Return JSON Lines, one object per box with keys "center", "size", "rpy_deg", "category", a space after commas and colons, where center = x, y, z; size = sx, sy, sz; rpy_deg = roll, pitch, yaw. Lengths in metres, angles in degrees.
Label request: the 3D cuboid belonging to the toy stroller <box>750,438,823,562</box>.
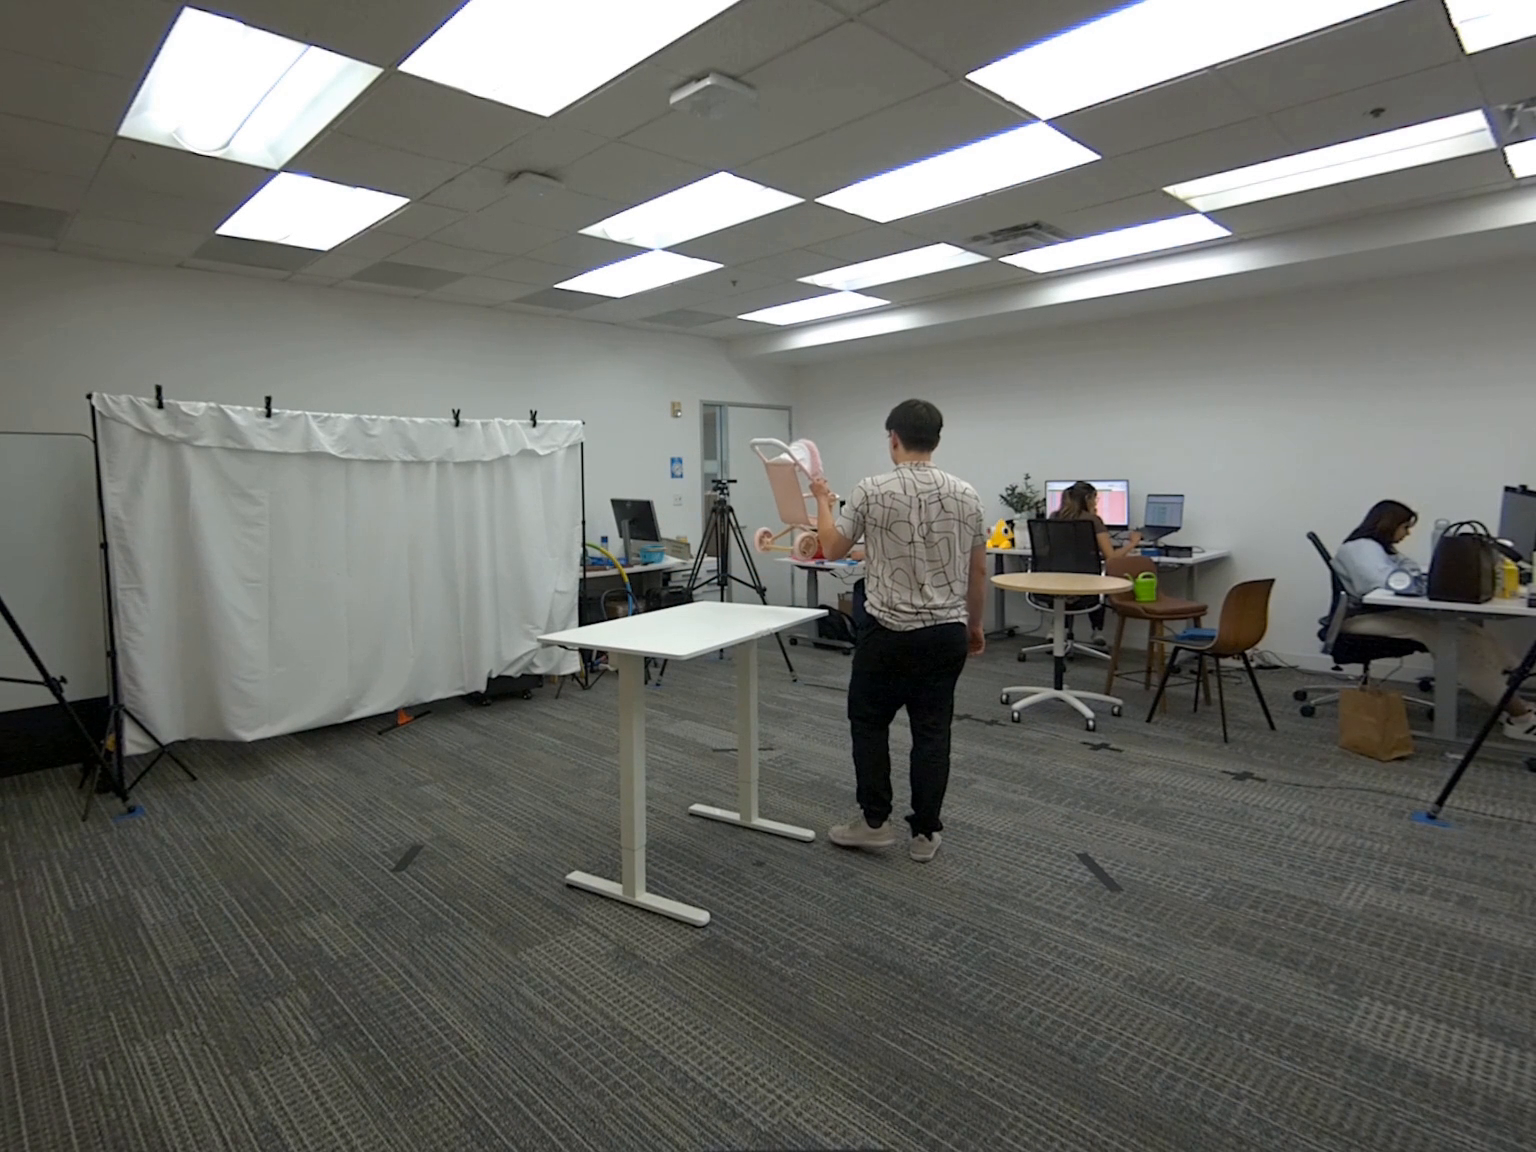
{"center": [0.128, -0.302, 3.422], "size": [0.334, 0.529, 0.290], "rpy_deg": [-14, 13, -33], "category": "toy stroller"}
